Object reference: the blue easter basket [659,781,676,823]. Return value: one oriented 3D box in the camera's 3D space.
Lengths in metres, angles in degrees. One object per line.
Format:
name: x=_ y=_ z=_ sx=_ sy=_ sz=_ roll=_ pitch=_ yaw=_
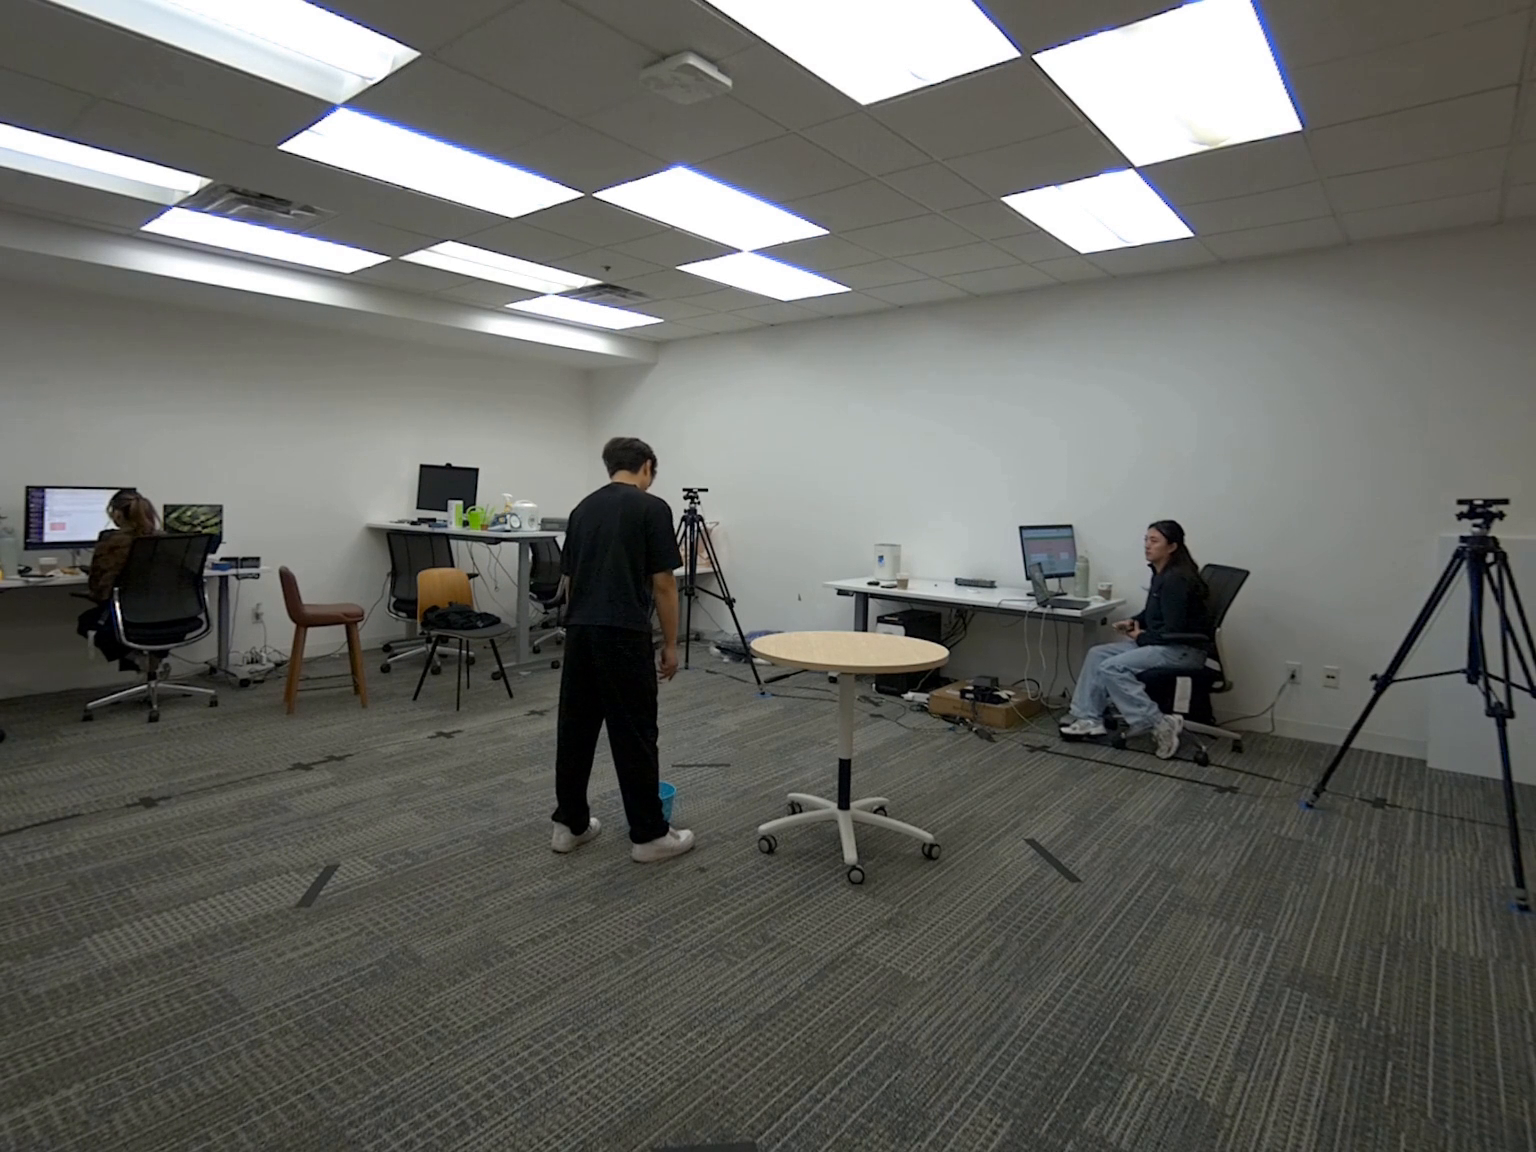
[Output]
blue easter basket: x=-0.501 y=0.945 z=3.489 sx=0.243 sy=0.155 sz=0.245 roll=0 pitch=4 yaw=-2
